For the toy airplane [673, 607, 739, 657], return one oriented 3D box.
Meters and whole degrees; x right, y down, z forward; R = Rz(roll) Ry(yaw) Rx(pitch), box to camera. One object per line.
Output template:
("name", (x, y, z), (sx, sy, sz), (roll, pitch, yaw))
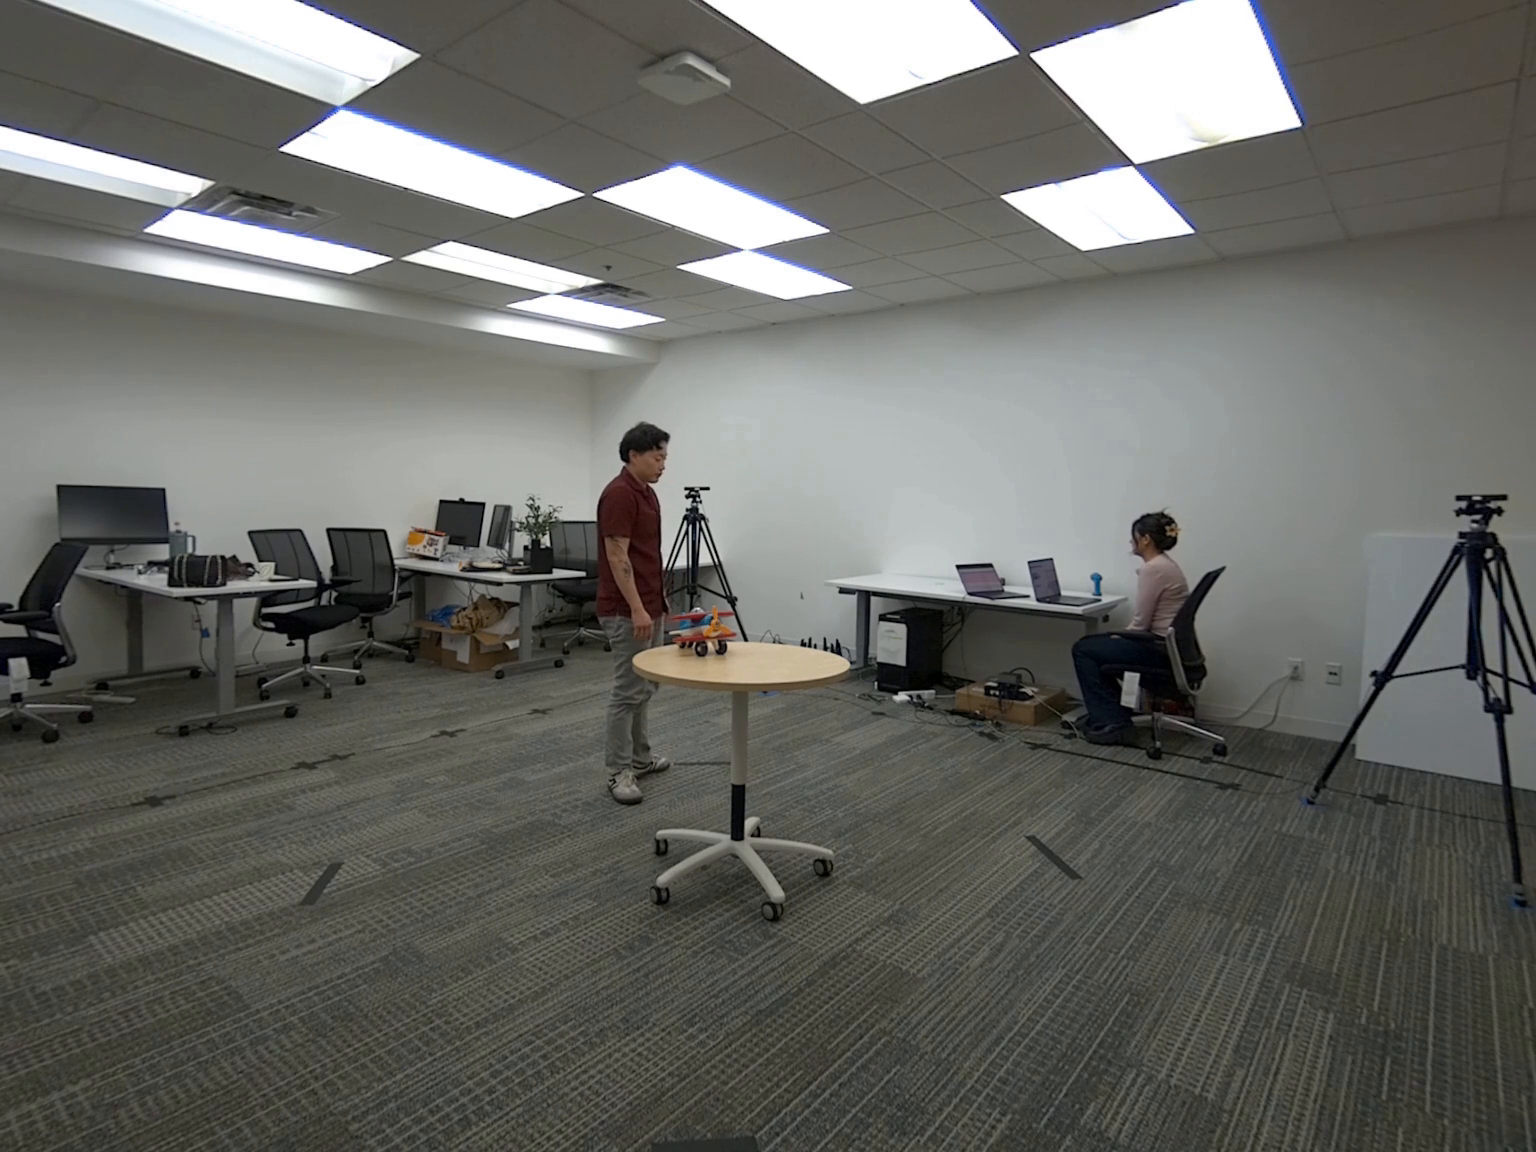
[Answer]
("toy airplane", (-0.281, 0.202, 3.150), (0.266, 0.156, 0.245), (4, 5, 27))
